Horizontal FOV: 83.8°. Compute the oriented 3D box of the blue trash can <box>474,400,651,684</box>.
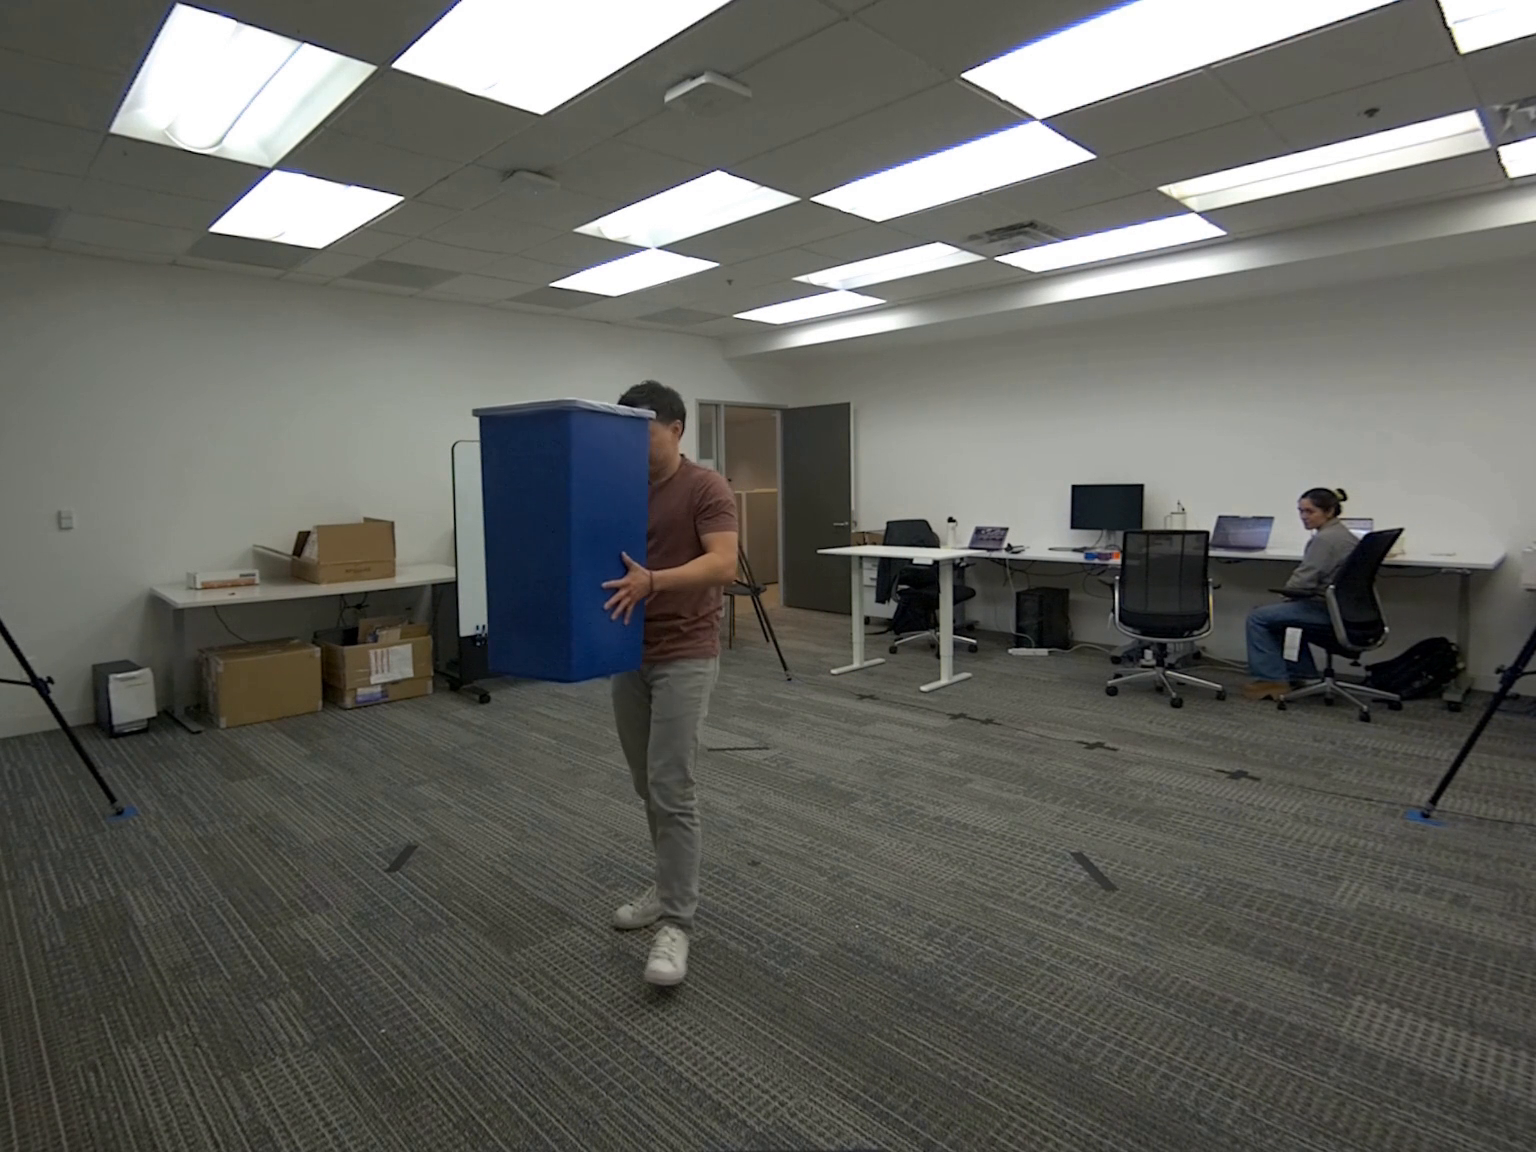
[{"bbox_3d":[-0.548,-0.097,2.320,0.388,0.713,0.365,0,1,31],"label":"blue trash can"}]
